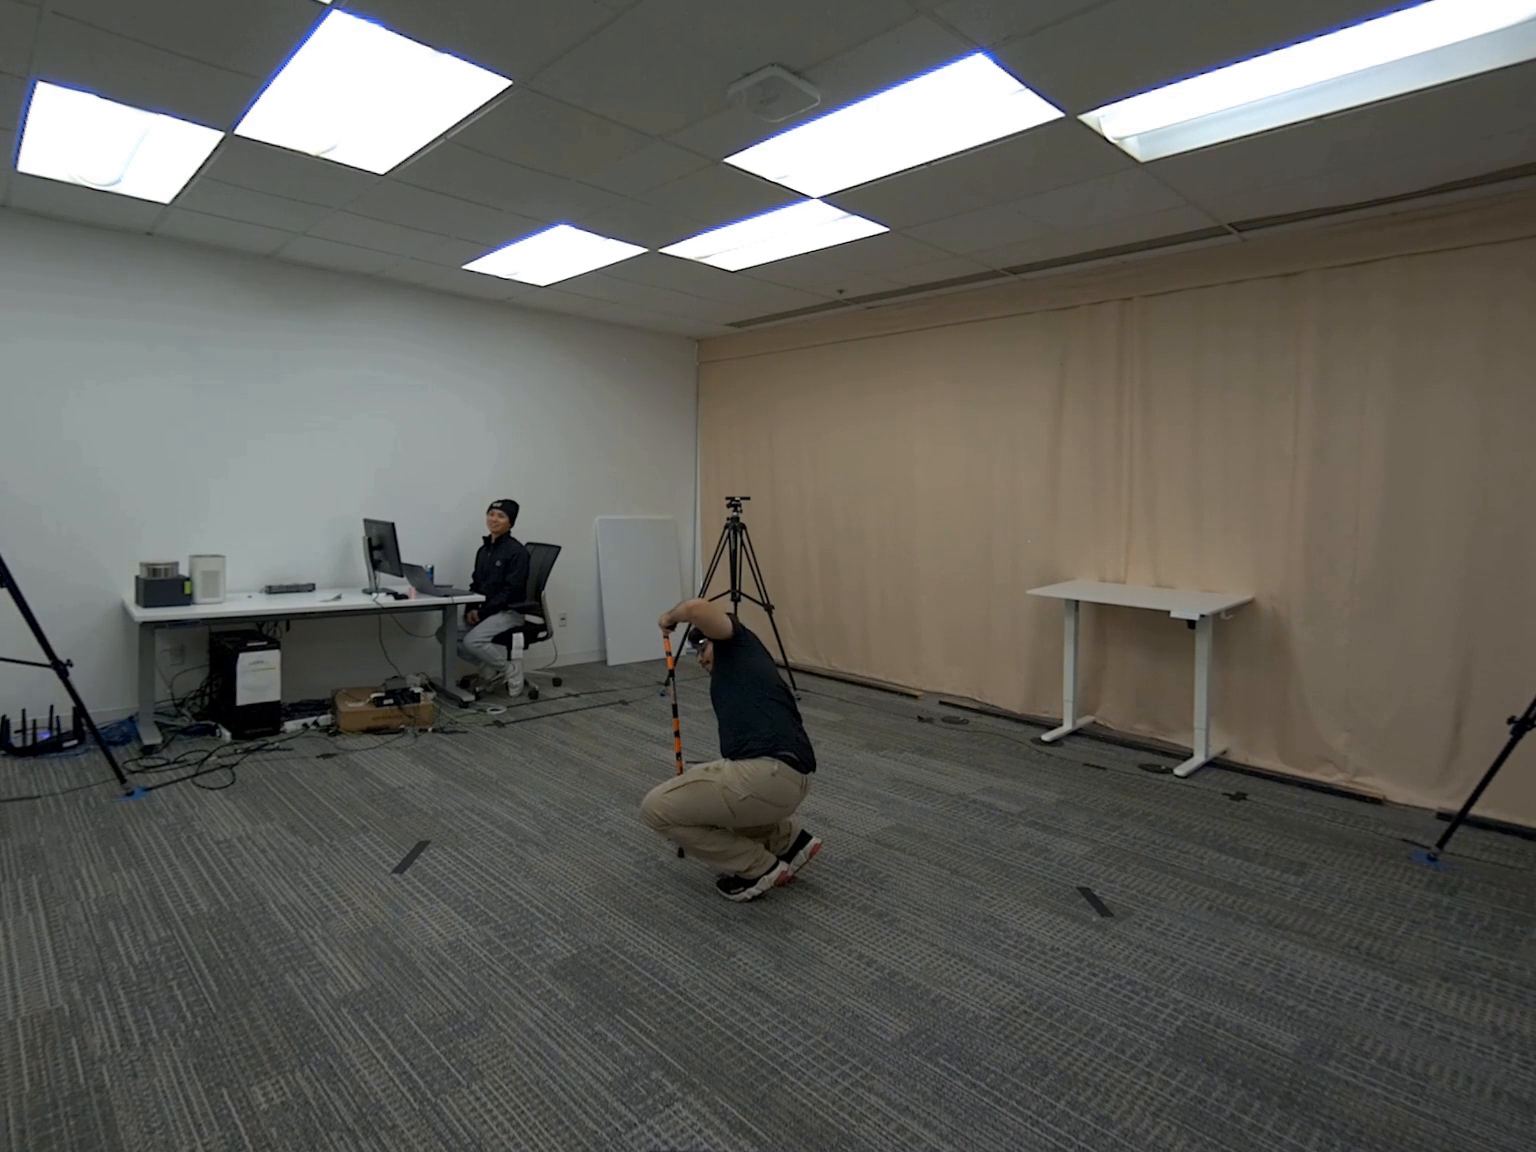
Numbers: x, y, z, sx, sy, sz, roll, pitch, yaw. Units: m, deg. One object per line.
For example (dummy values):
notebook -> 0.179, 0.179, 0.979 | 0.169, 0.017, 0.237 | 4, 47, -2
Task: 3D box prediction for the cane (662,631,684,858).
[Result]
cane -> -0.353, 0.633, 3.343 | 0.150, 0.906, 0.209 | -6, 3, -17
